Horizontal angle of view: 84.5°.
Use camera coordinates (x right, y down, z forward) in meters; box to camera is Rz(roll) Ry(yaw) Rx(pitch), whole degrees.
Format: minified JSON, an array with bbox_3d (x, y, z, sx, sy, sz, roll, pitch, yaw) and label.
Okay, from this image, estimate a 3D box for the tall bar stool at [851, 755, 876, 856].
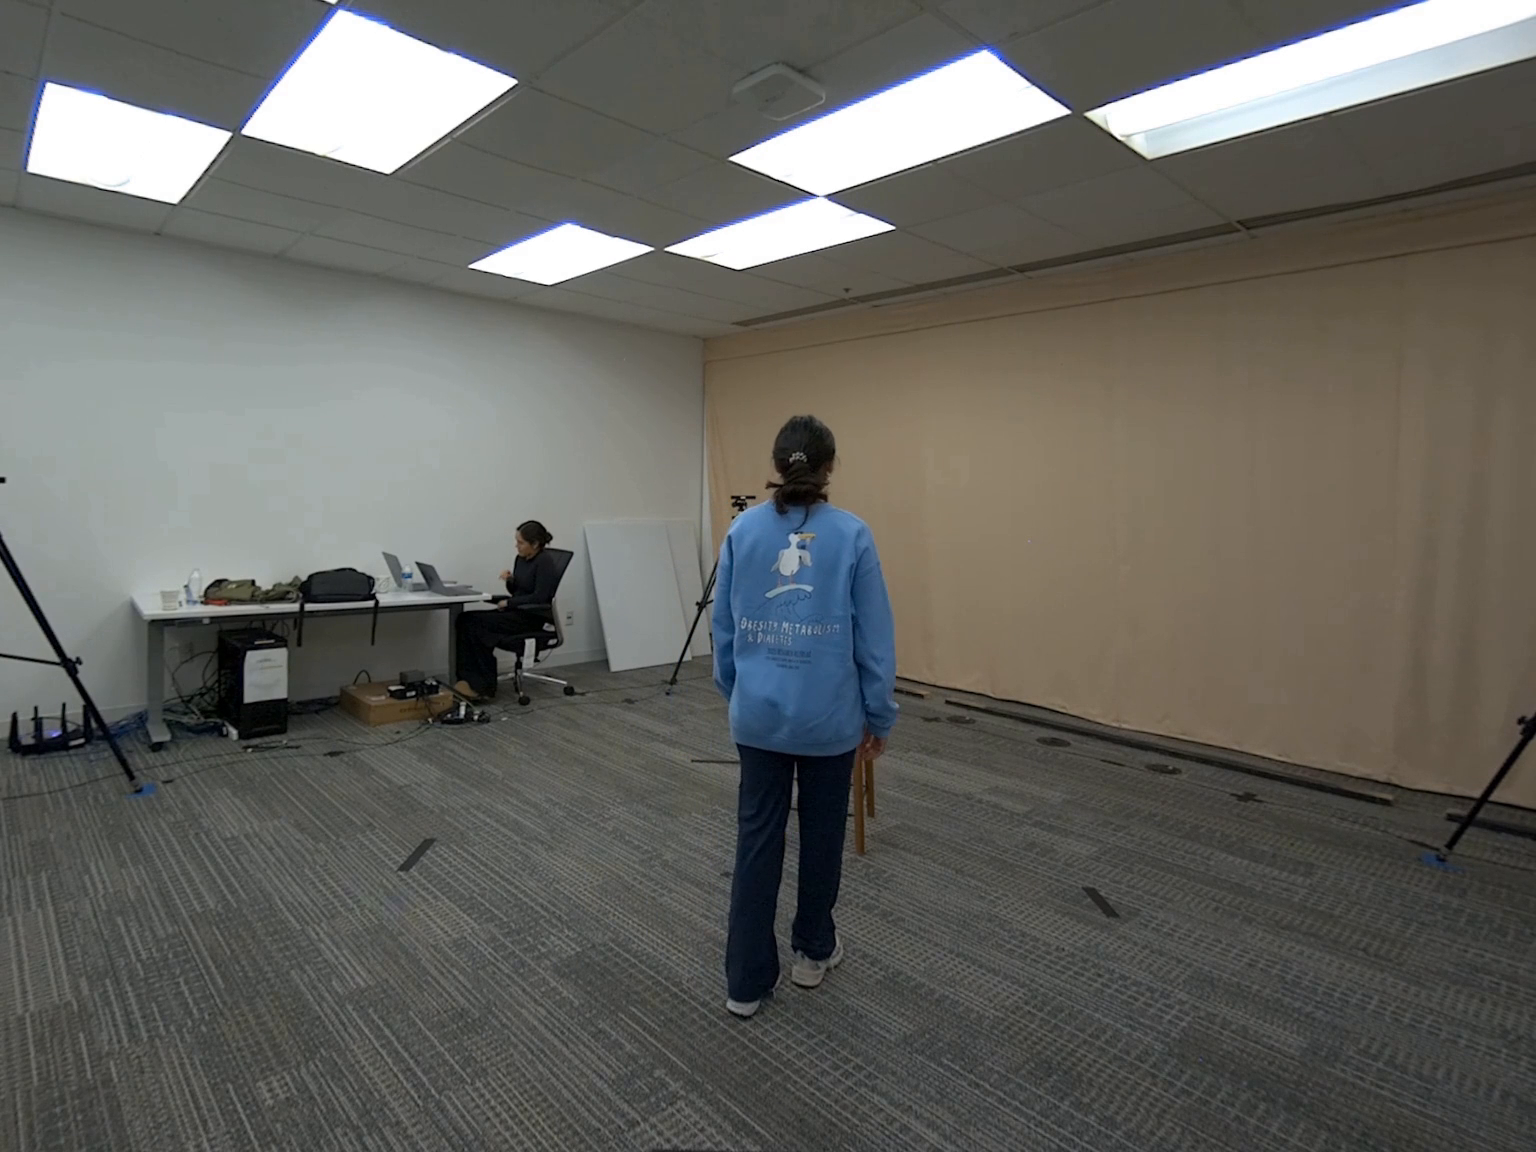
[{"bbox_3d":[0.242,0.640,3.532,0.461,0.887,0.464,2,5,13],"label":"tall bar stool"}]
